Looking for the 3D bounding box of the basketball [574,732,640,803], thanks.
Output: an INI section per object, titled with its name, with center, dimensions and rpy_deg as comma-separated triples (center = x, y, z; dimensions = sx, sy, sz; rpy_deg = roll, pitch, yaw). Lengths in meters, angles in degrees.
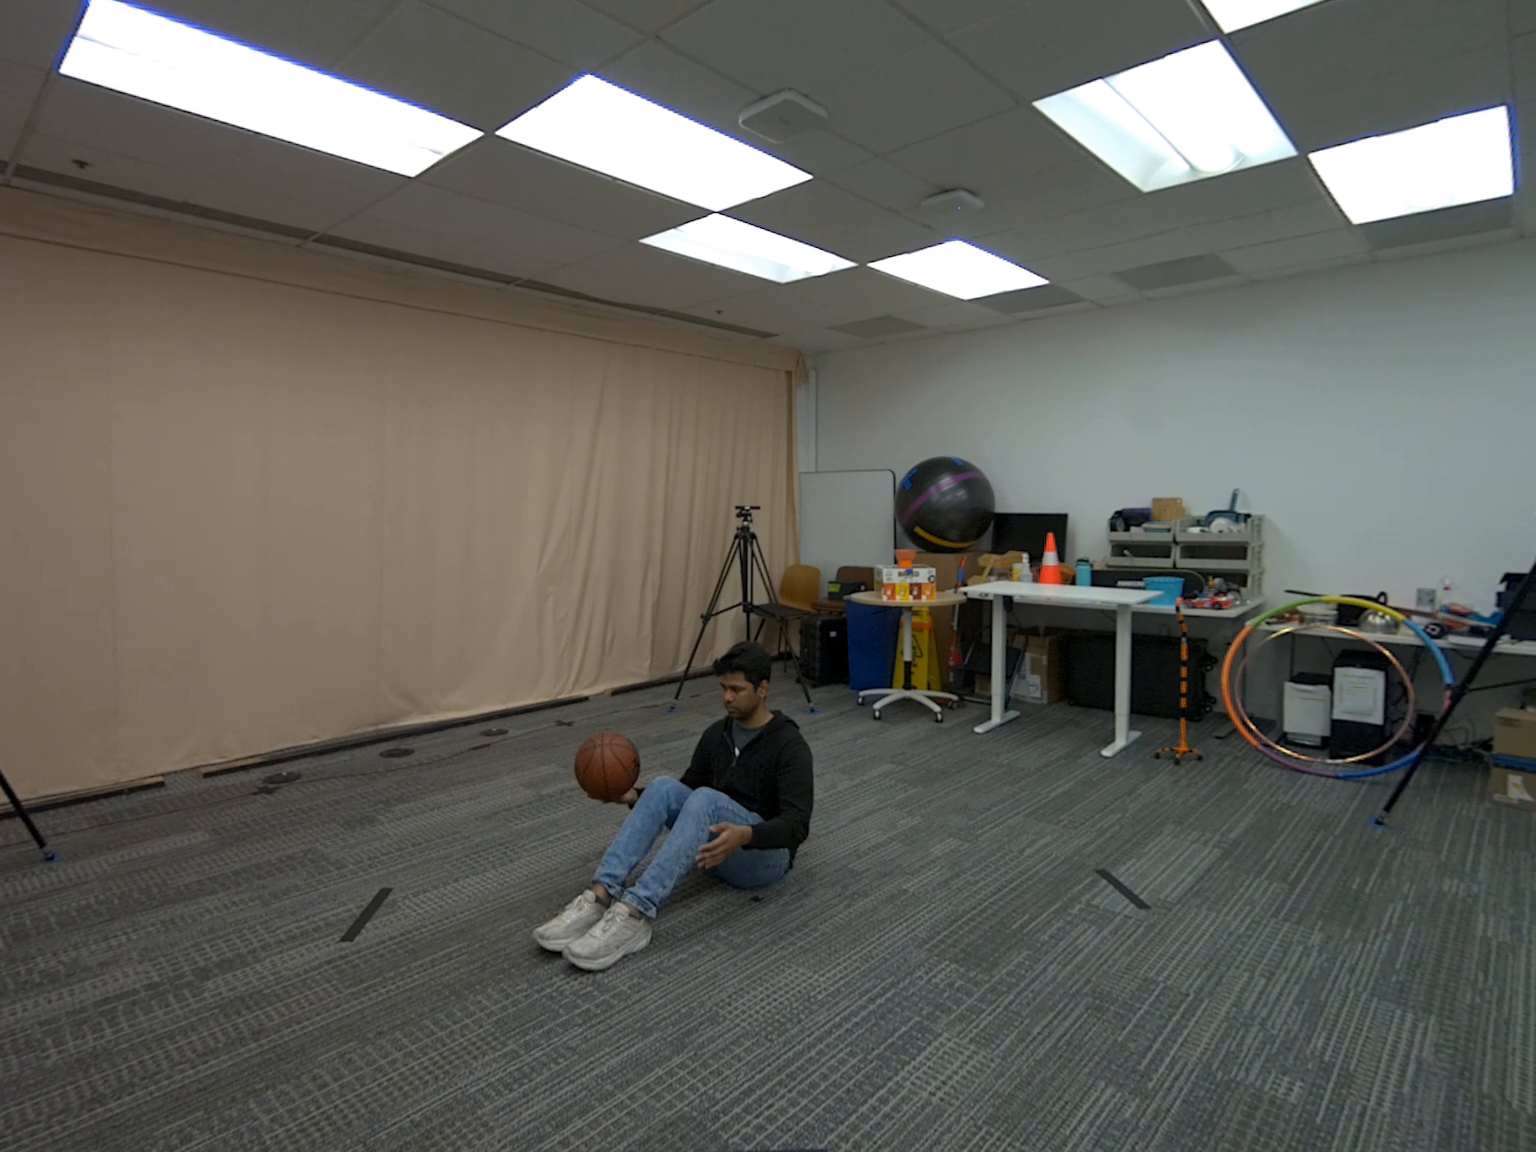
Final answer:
[basketball]
center = -0.575, 0.690, 3.047
dimensions = 0.236, 0.235, 0.237
rpy_deg = 0, 4, -2
